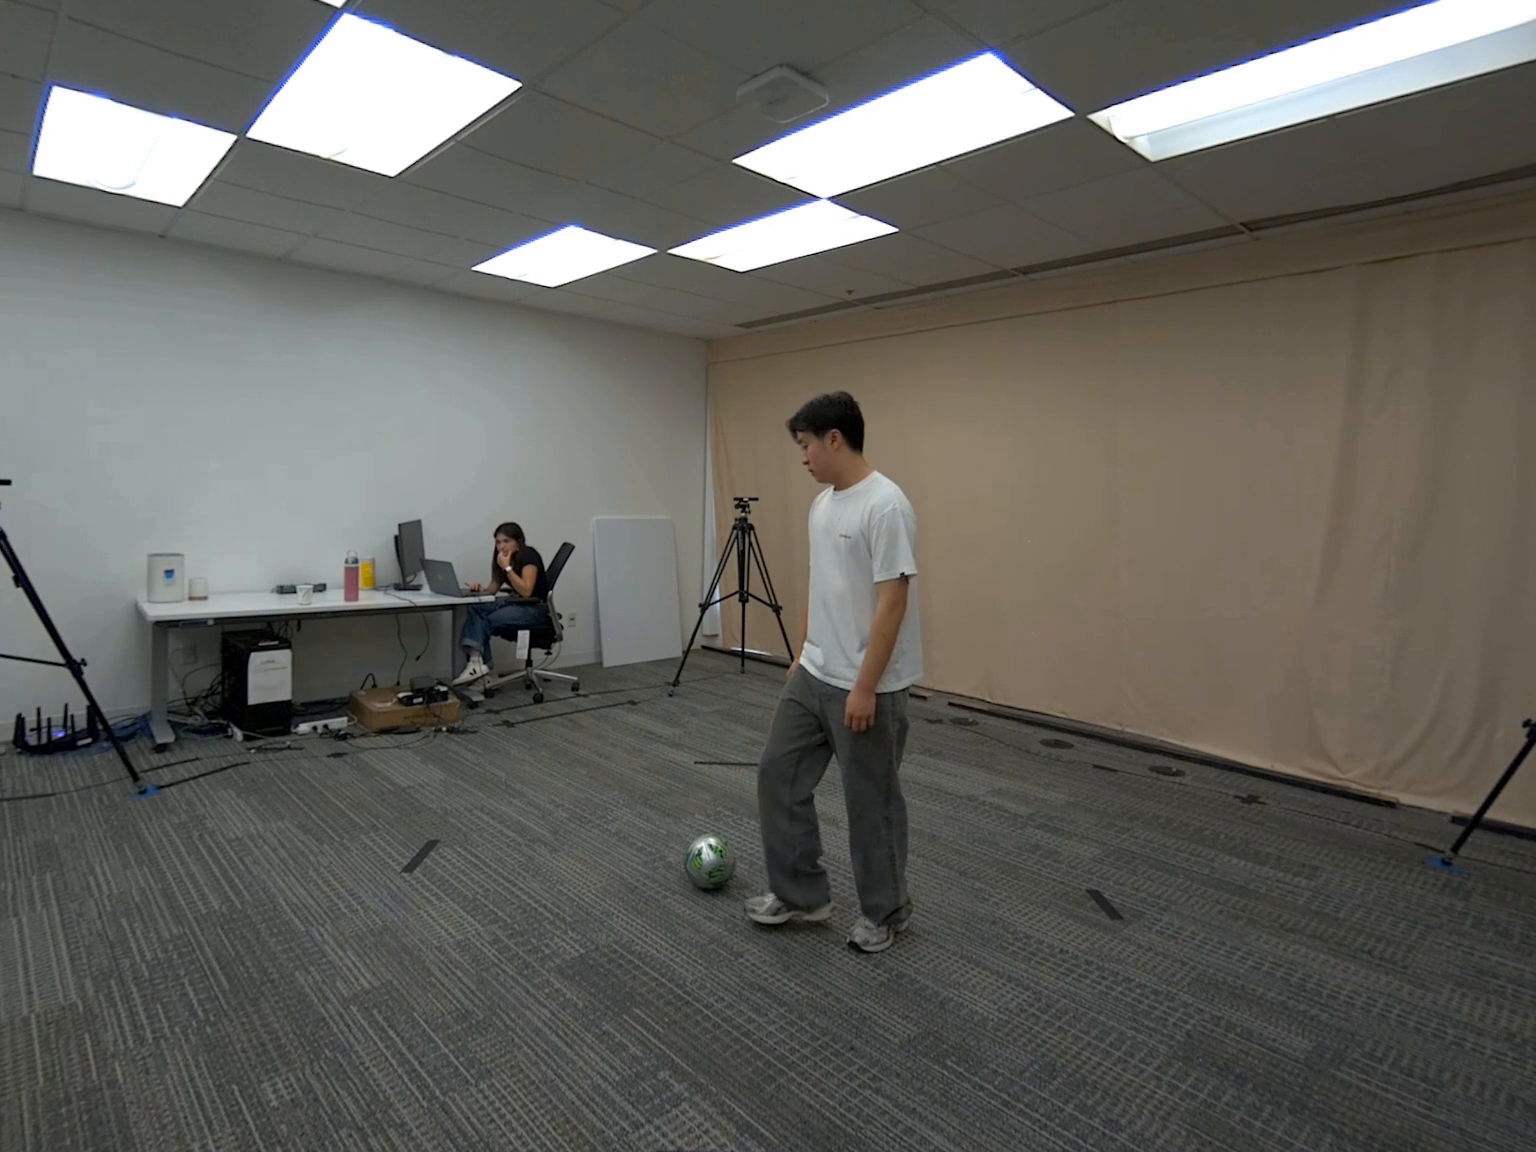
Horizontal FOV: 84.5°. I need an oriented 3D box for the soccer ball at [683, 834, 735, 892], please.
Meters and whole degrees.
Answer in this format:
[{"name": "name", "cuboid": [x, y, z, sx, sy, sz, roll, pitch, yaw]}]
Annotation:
[{"name": "soccer ball", "cuboid": [-0.214, 1.023, 3.009, 0.187, 0.187, 0.188, 1, 4, -1]}]
